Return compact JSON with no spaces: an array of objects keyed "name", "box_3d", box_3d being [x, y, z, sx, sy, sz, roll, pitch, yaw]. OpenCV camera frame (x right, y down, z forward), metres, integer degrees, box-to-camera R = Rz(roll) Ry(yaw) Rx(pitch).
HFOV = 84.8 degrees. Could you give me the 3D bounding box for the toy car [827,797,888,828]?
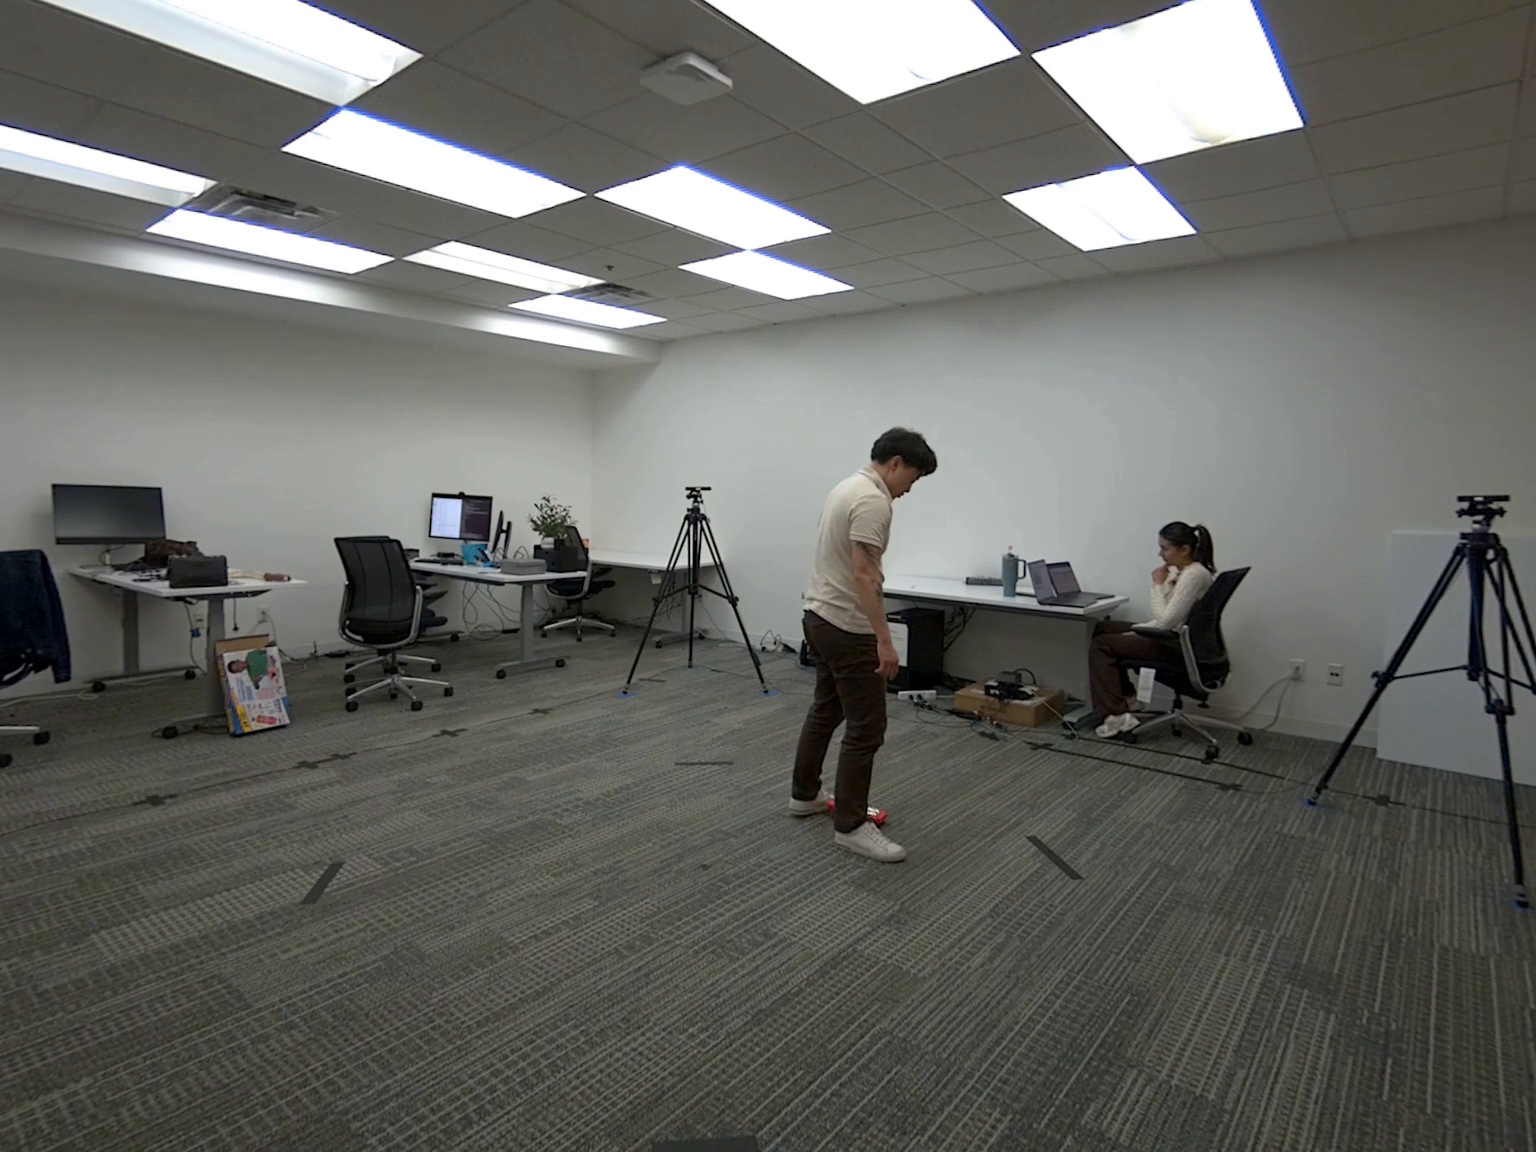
[{"name":"toy car","box_3d":[0.372,0.994,3.606,0.263,0.082,0.127,16,11,32]}]
